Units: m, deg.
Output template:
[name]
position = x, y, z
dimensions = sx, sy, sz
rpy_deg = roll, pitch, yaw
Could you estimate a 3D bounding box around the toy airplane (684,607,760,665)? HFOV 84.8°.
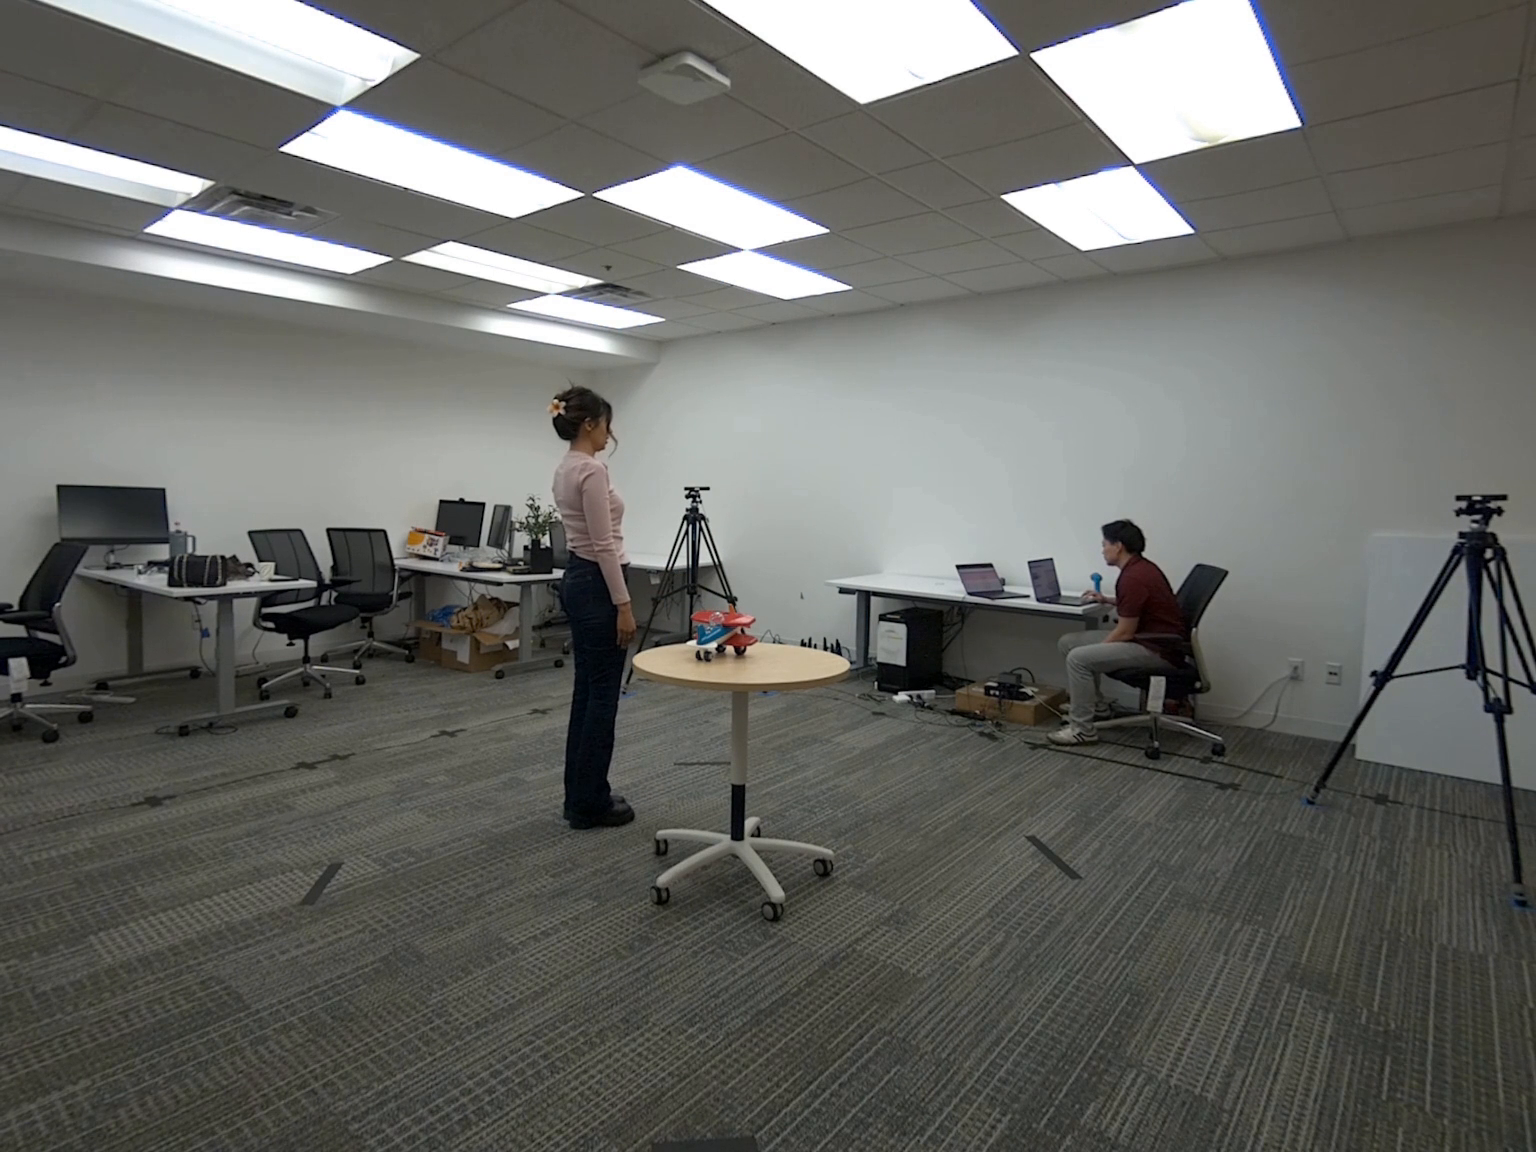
[toy airplane]
position = -0.165, 0.212, 3.051
dimensions = 0.252, 0.156, 0.259
rpy_deg = 2, 4, 3
